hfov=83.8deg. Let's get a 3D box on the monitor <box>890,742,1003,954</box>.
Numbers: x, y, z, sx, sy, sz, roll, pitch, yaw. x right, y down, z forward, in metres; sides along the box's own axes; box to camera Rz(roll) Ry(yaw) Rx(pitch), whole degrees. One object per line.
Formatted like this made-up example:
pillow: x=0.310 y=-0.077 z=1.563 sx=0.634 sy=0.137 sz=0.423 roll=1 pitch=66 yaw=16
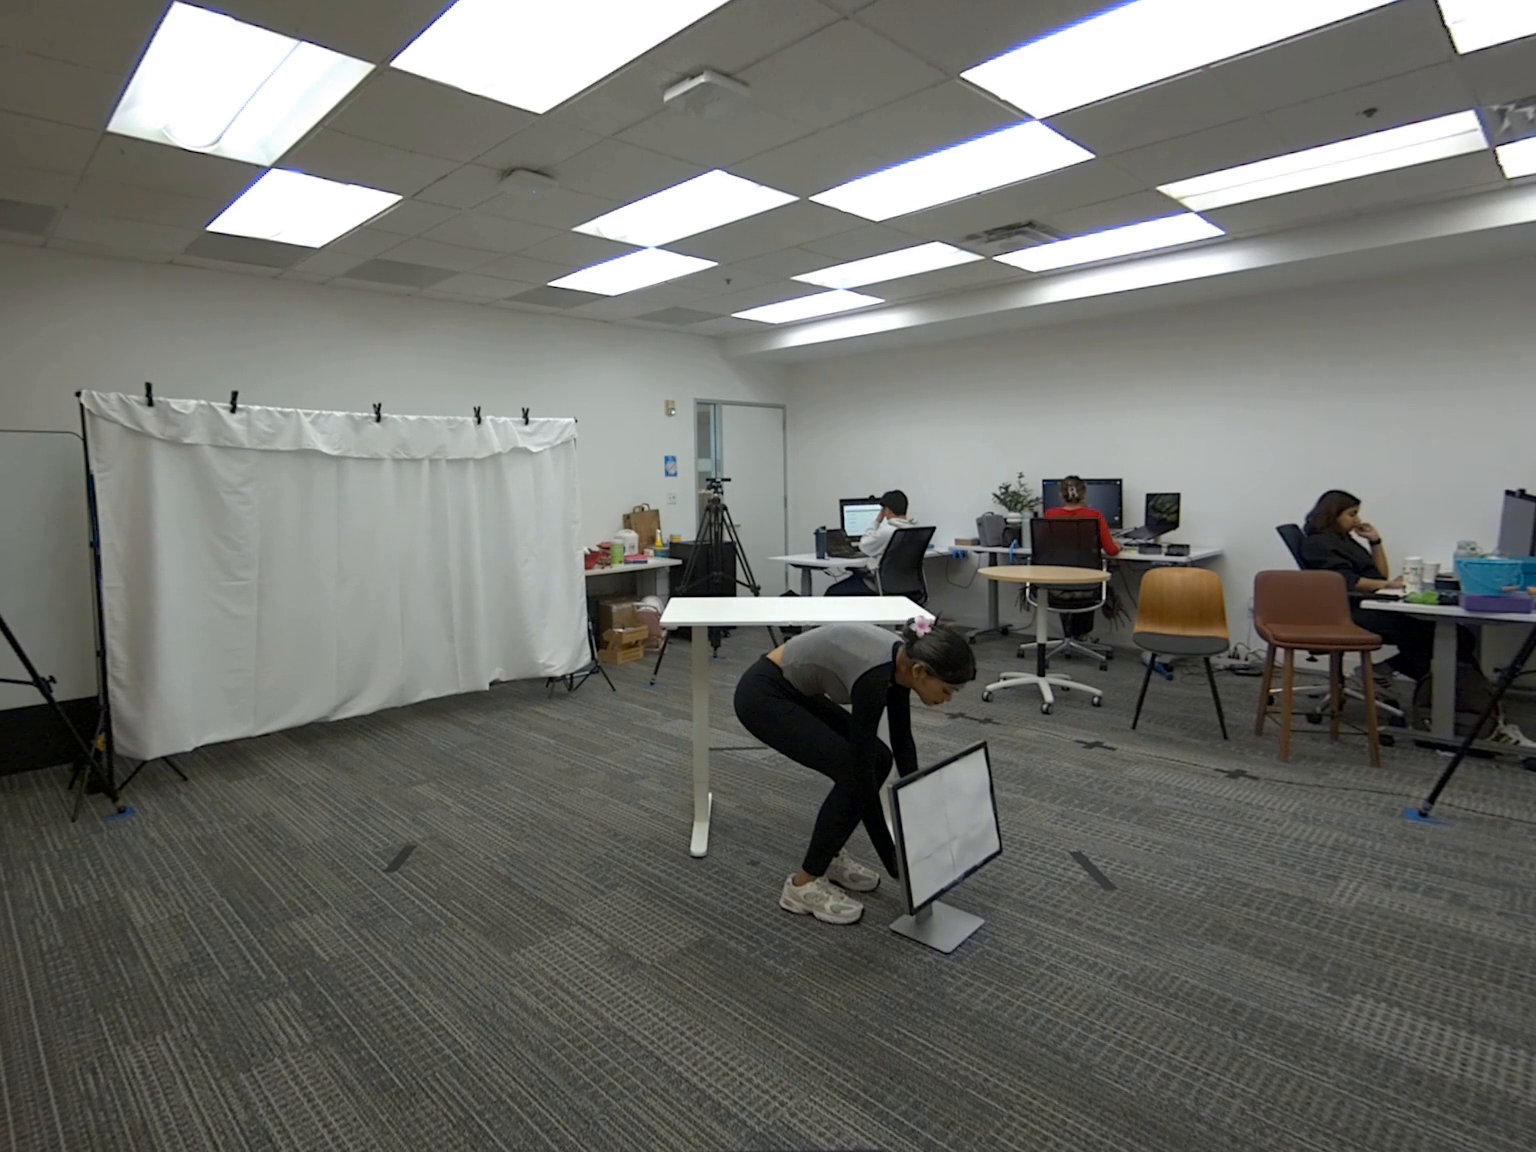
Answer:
monitor: x=0.521 y=0.829 z=2.628 sx=0.193 sy=0.520 sz=0.525 roll=4 pitch=7 yaw=40
